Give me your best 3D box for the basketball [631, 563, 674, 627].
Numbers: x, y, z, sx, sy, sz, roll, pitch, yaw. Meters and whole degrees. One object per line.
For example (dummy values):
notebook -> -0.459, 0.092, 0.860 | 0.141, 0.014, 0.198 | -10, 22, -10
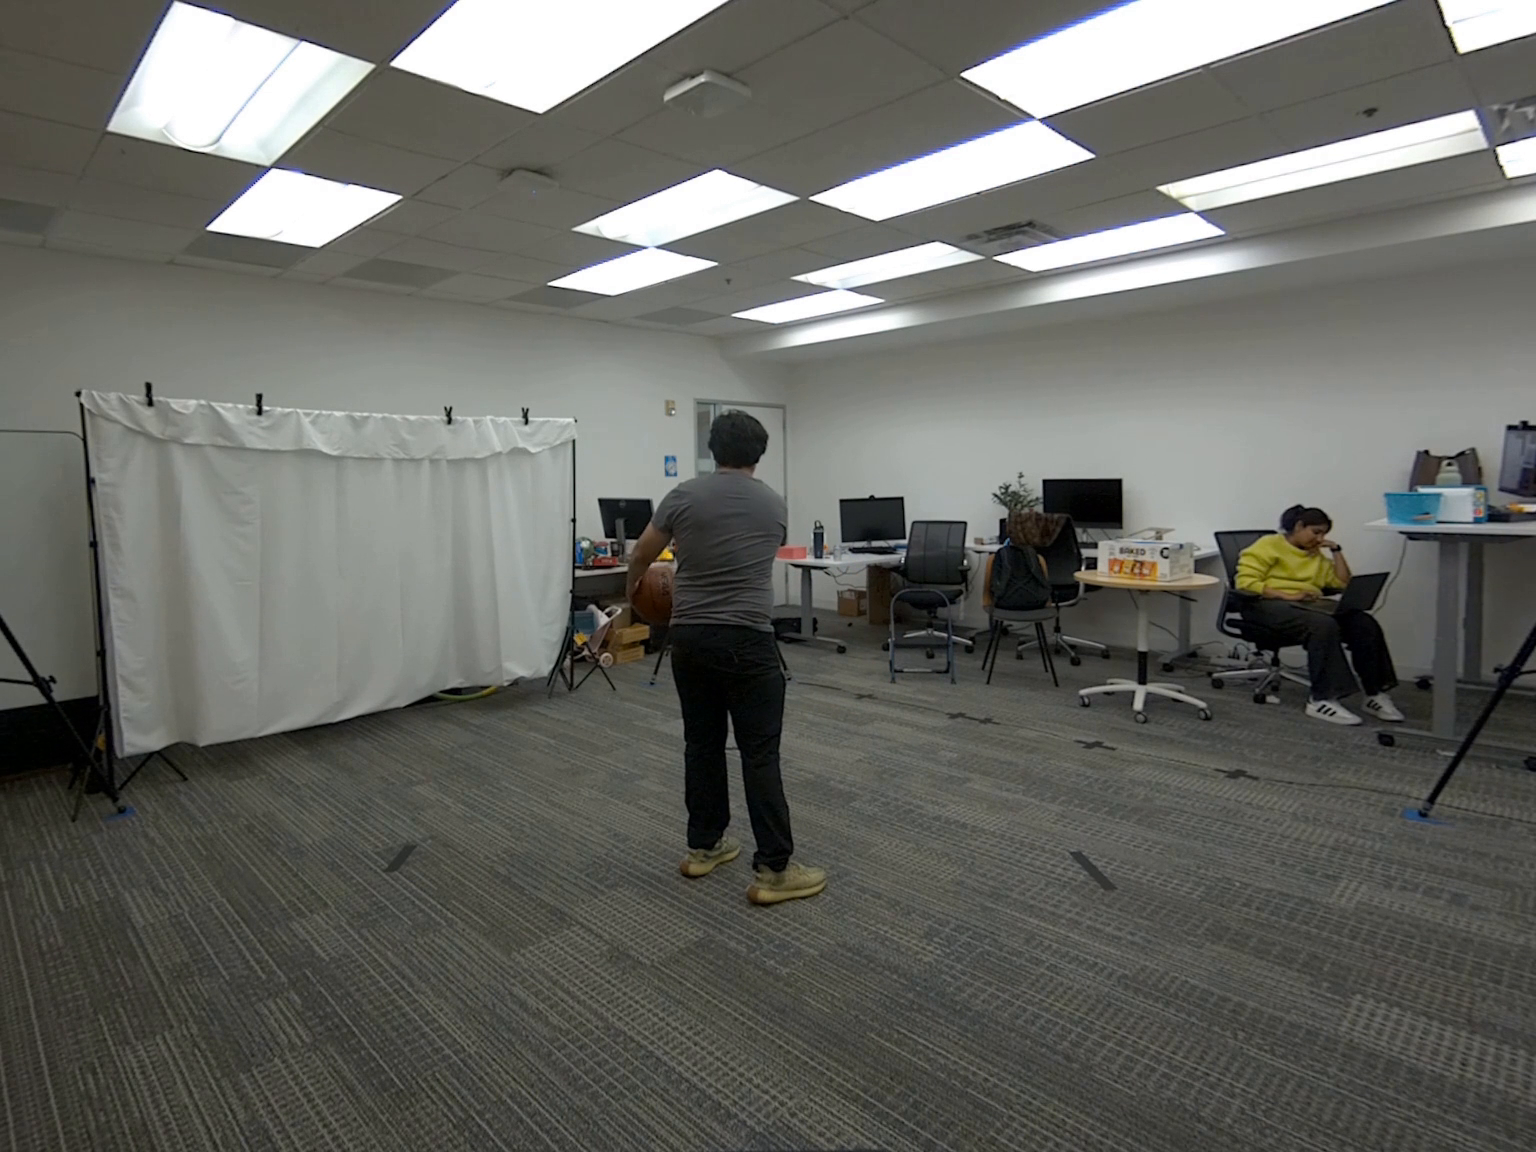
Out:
basketball -> -0.433, 0.081, 3.460 | 0.236, 0.235, 0.237 | -1, 5, -2
